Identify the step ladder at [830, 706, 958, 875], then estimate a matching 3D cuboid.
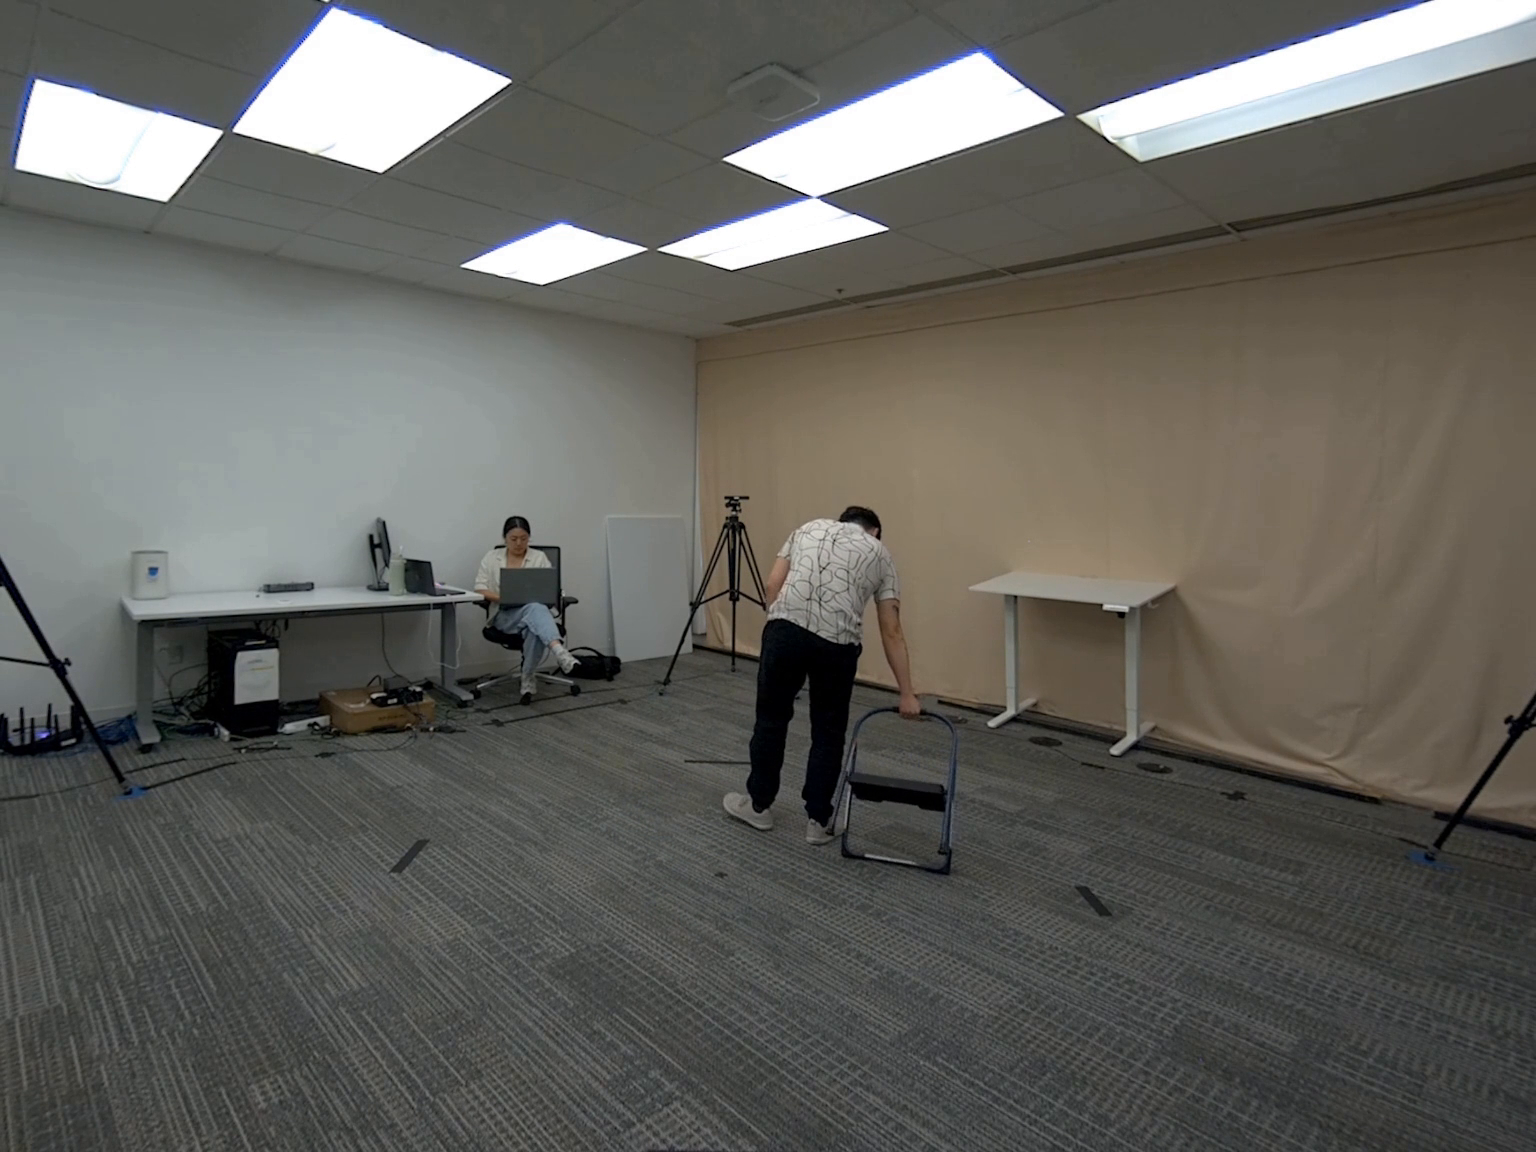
[{"bbox_3d":[0.504,0.772,3.245,0.437,0.614,0.339,3,-32,17],"label":"step ladder"}]
